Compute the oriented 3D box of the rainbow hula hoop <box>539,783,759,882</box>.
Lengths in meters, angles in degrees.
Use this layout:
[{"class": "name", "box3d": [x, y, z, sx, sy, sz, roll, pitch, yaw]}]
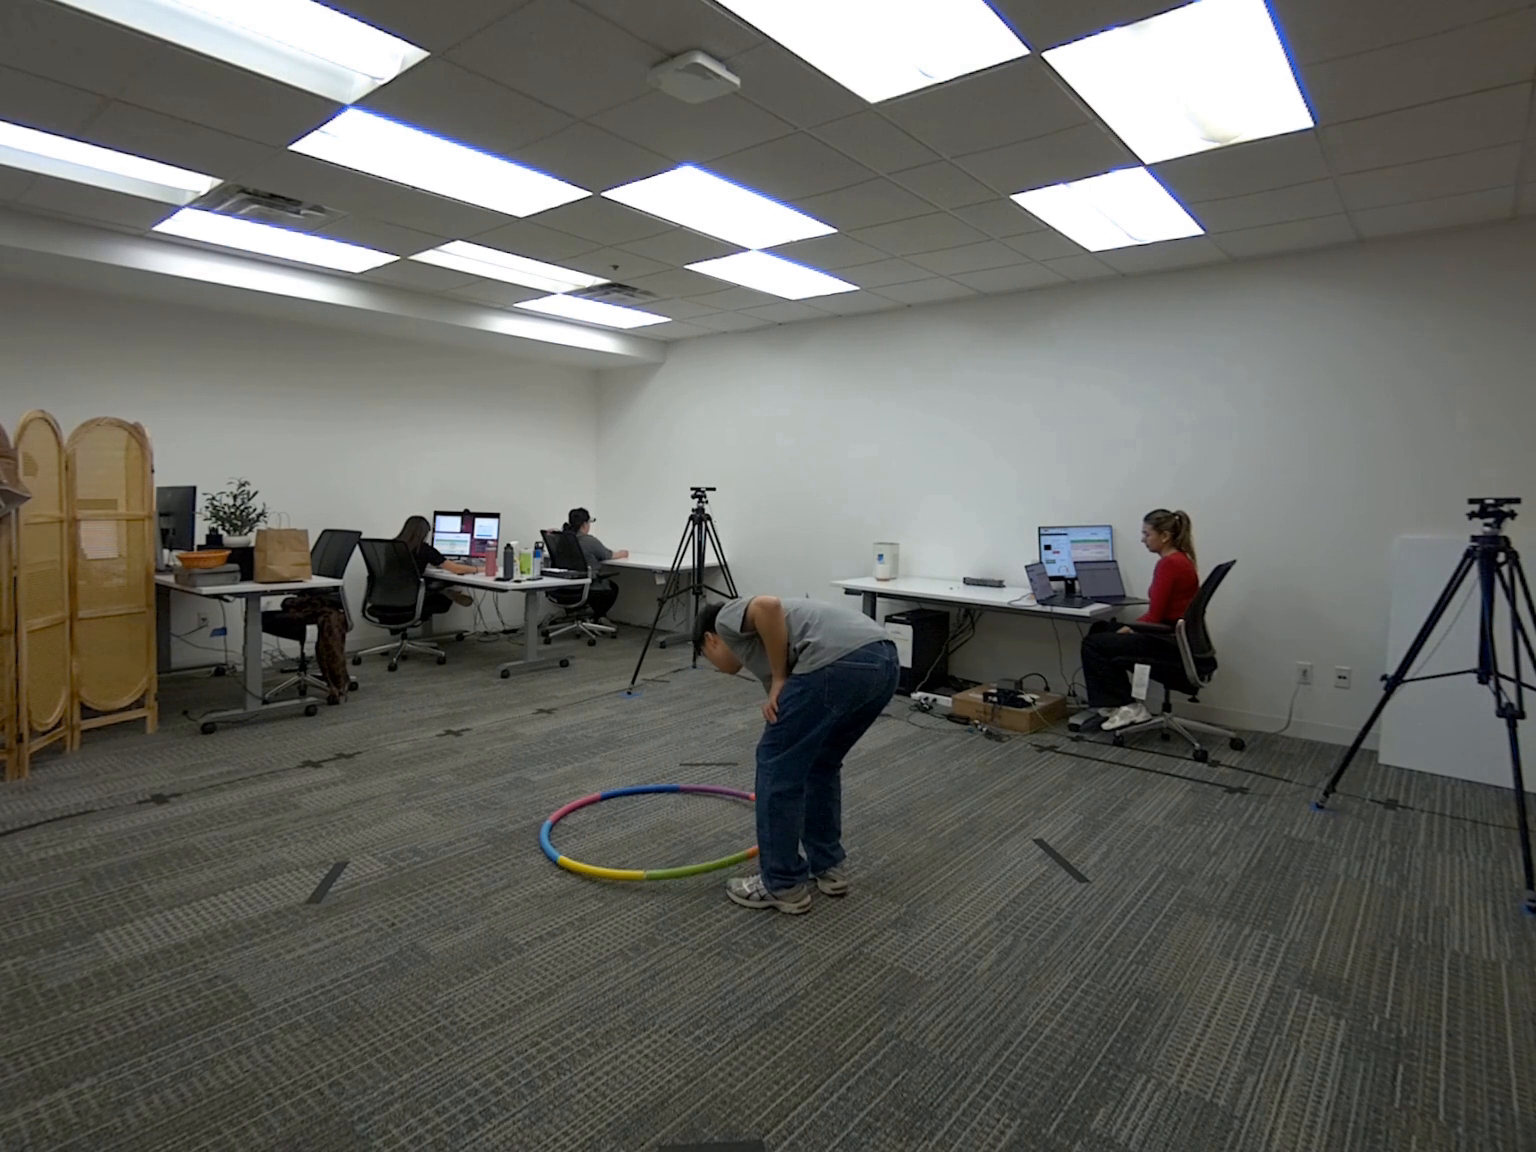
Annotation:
[{"class": "rainbow hula hoop", "box3d": [-0.425, 0.966, 3.404, 0.978, 0.035, 0.982, -2, 4, -2]}]
